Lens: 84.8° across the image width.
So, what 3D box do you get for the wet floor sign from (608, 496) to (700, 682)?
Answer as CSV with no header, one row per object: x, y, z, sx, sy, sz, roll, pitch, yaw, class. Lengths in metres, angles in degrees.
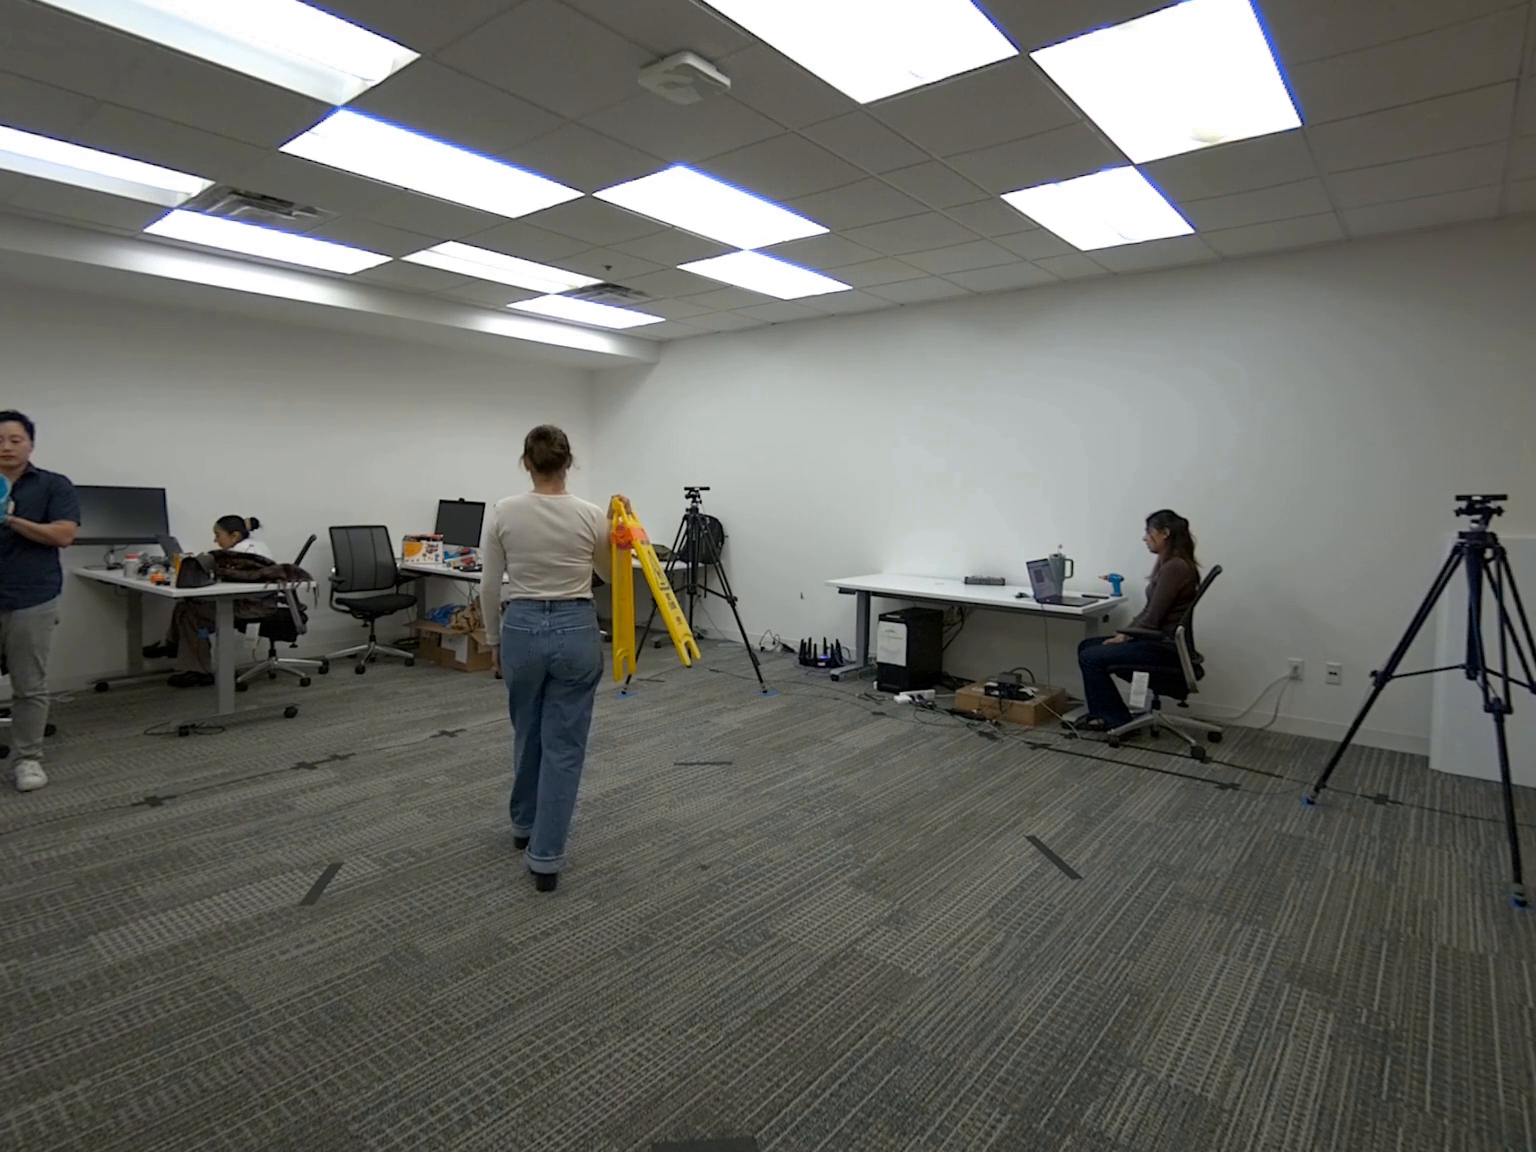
-0.493,0.030,3.145,0.292,0.649,0.279,-13,-4,7,wet floor sign
